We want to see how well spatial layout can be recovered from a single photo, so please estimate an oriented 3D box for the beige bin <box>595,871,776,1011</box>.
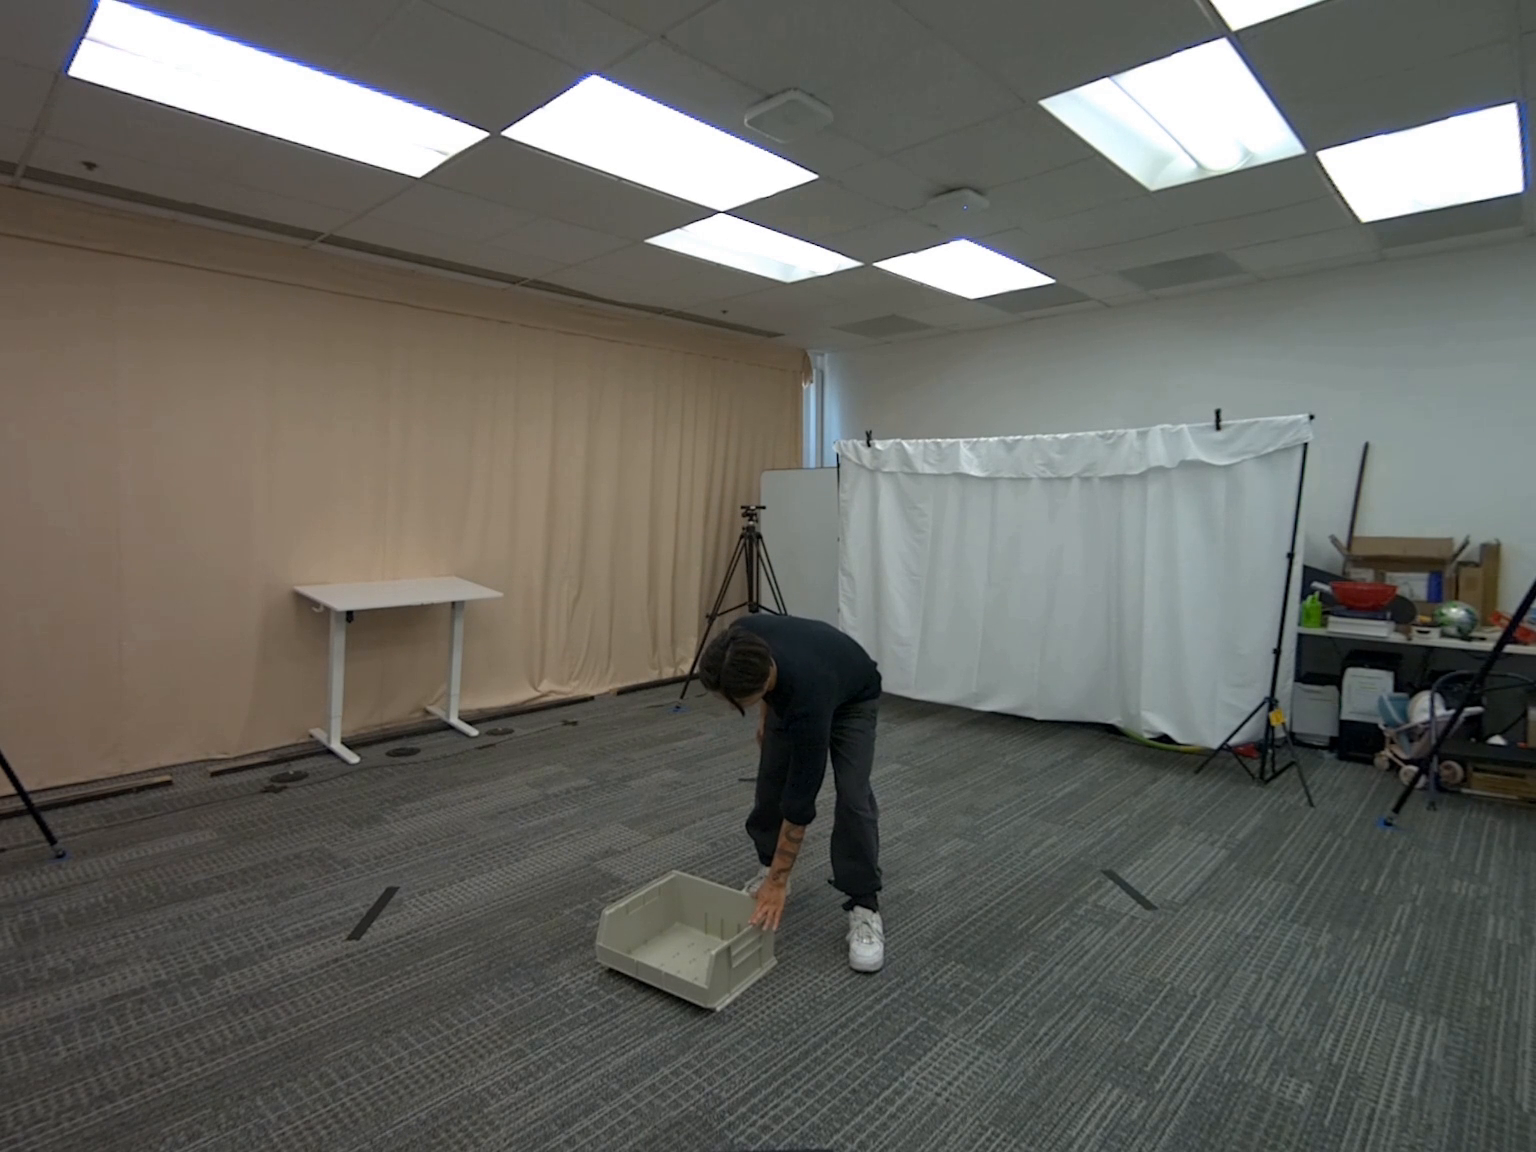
[{"bbox_3d":[-0.240,1.097,2.537,0.435,0.188,0.366,3,4,34],"label":"beige bin"}]
